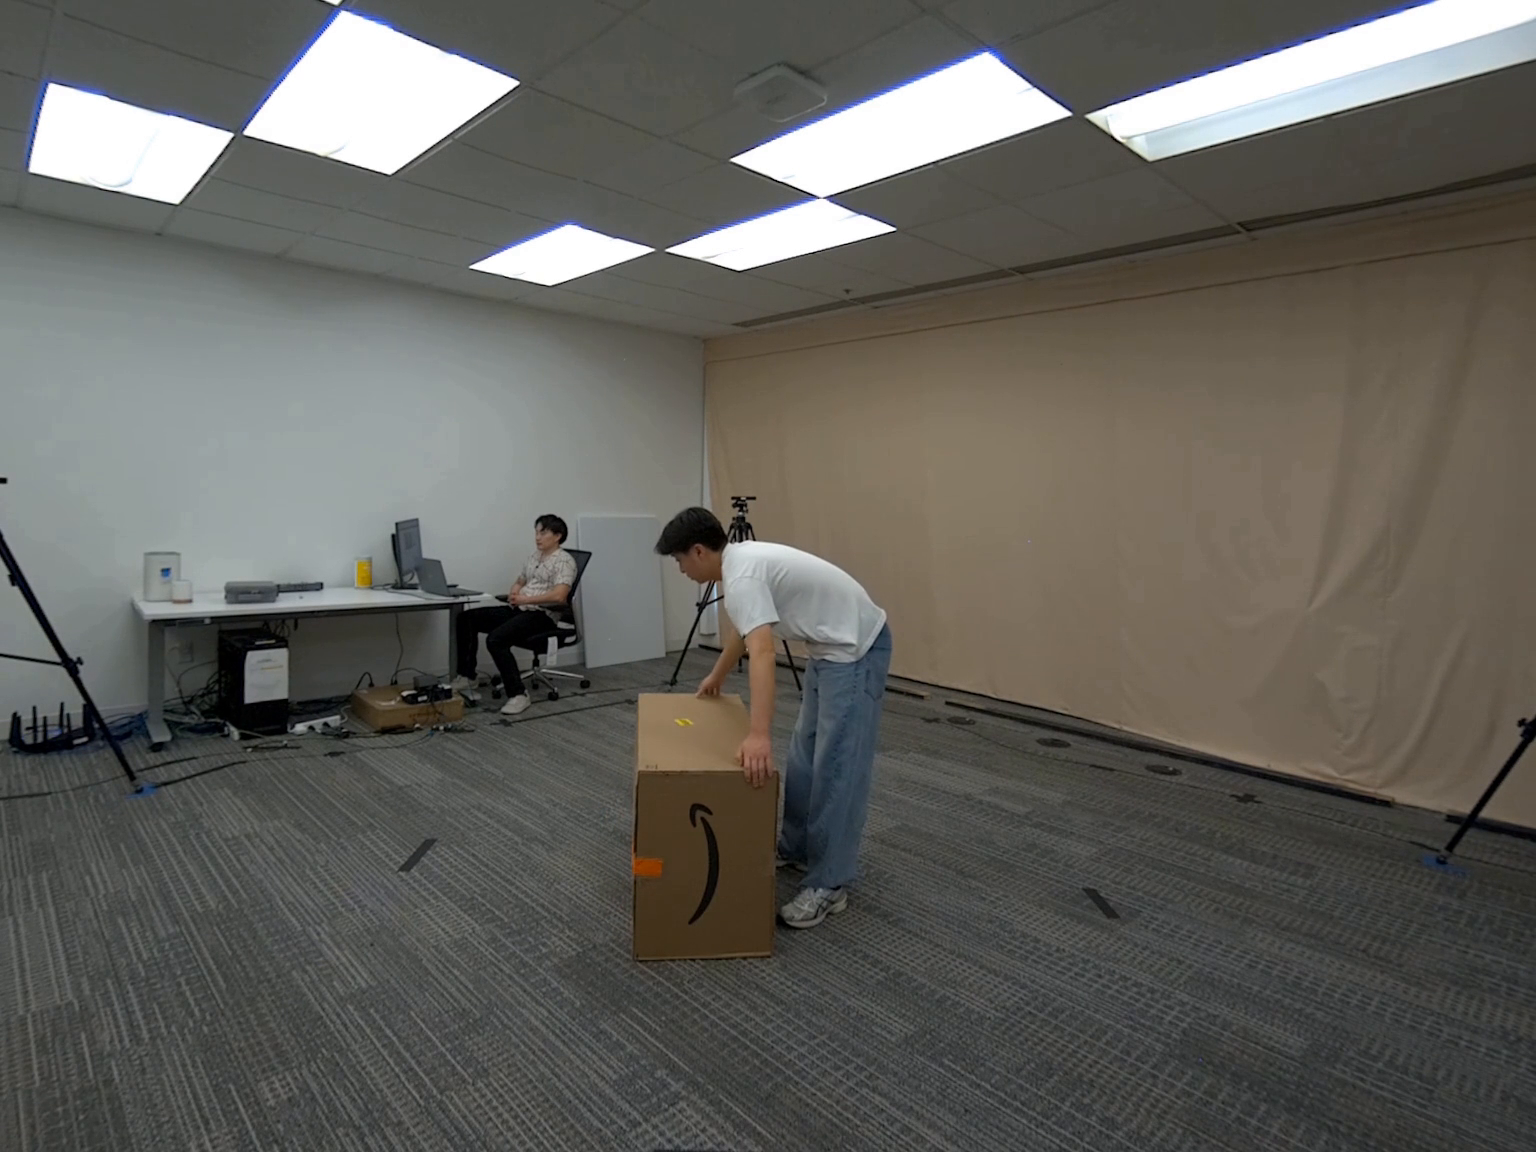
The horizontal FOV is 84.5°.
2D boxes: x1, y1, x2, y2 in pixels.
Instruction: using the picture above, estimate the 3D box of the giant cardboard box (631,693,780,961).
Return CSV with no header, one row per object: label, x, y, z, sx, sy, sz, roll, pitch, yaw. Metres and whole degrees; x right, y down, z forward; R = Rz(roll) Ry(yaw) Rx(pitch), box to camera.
giant cardboard box,-0.273,0.821,3.026,0.423,0.576,1.035,3,4,-9
